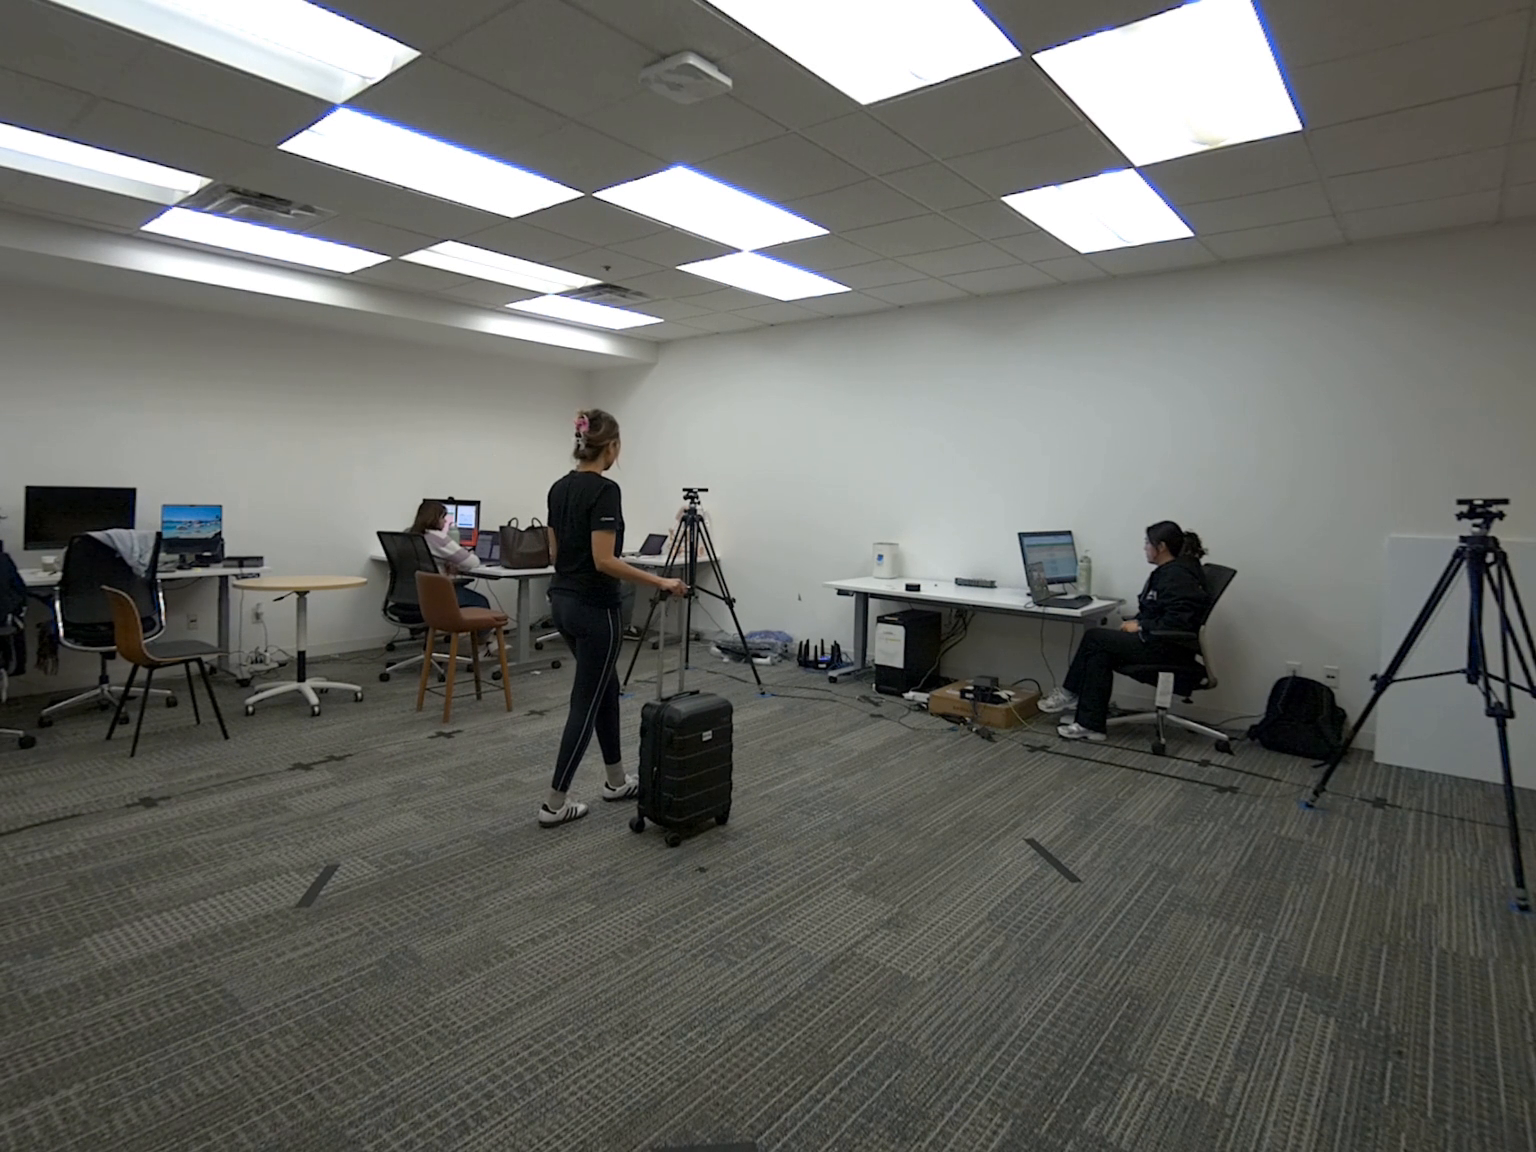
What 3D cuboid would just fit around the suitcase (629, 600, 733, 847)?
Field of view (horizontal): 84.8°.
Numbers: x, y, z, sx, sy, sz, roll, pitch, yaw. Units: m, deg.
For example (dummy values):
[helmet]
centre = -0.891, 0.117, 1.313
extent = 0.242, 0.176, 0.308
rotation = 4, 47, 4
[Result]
[suitcase]
centre = -0.332, 0.557, 3.471
extent = 0.266, 0.975, 0.372
rotation = 7, 5, 44
